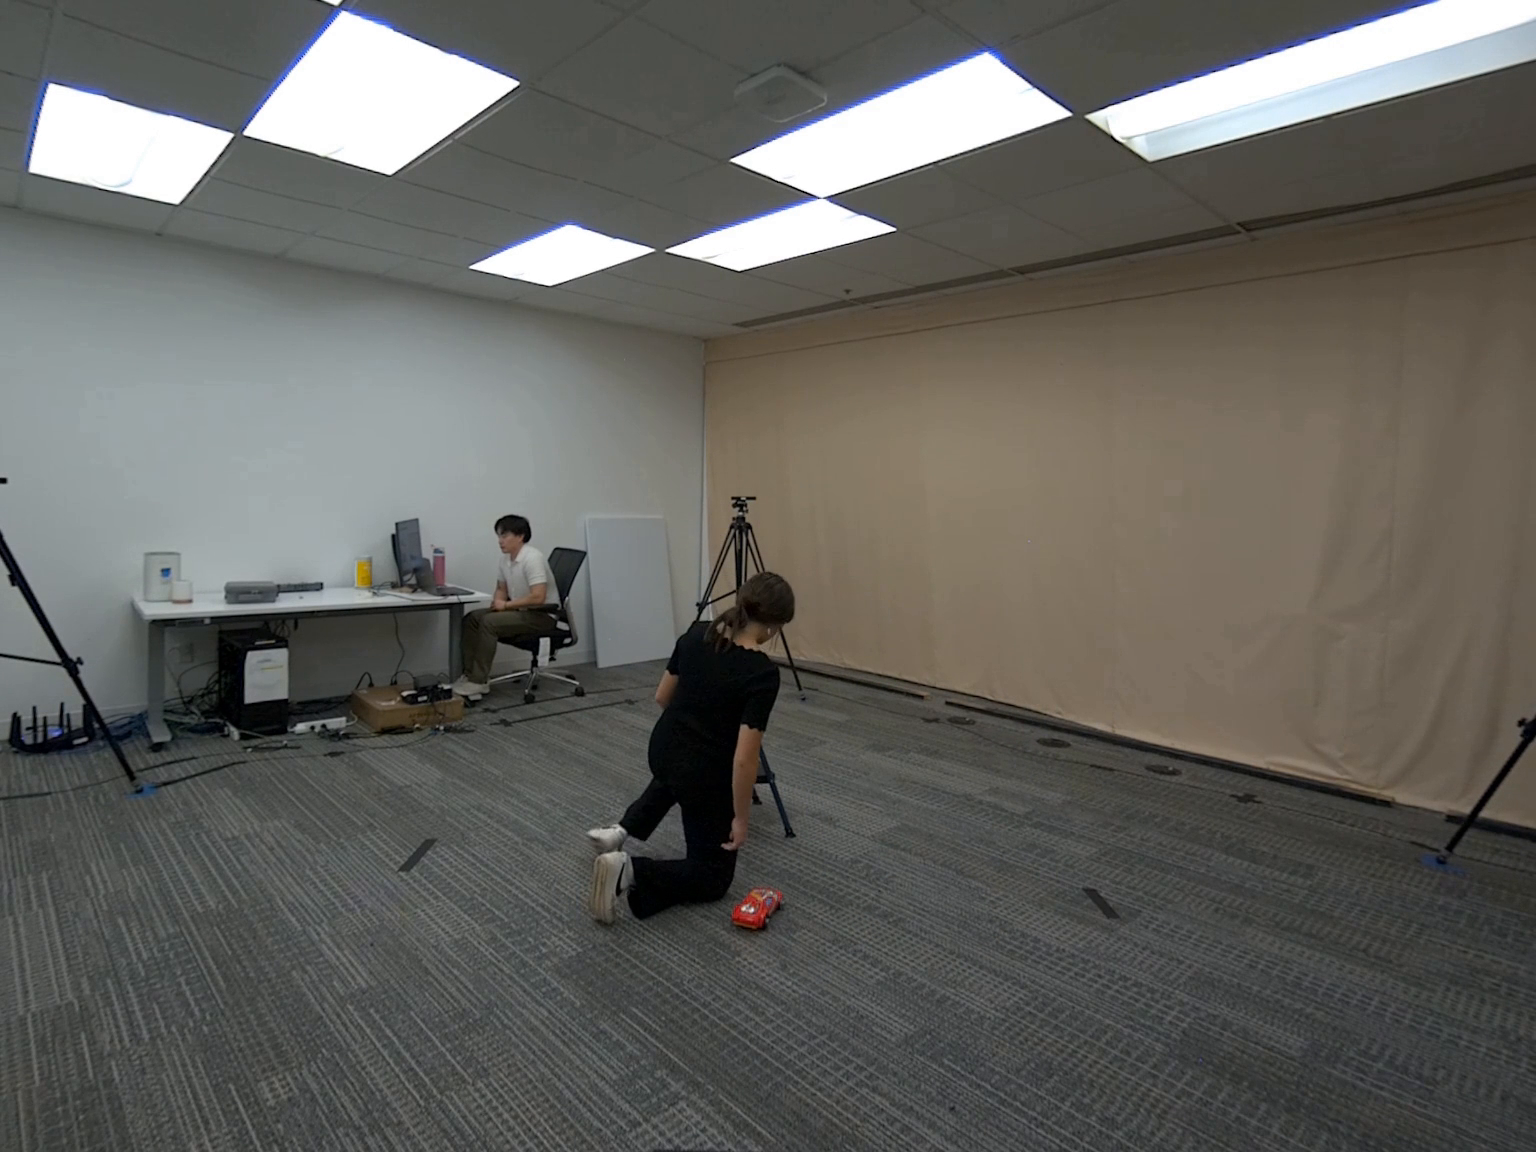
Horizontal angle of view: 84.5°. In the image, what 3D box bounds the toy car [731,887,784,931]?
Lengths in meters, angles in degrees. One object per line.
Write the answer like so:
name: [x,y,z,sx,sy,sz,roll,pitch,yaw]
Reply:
toy car: [-0.052,1.103,2.782,0.132,0.083,0.250,5,-5,18]
